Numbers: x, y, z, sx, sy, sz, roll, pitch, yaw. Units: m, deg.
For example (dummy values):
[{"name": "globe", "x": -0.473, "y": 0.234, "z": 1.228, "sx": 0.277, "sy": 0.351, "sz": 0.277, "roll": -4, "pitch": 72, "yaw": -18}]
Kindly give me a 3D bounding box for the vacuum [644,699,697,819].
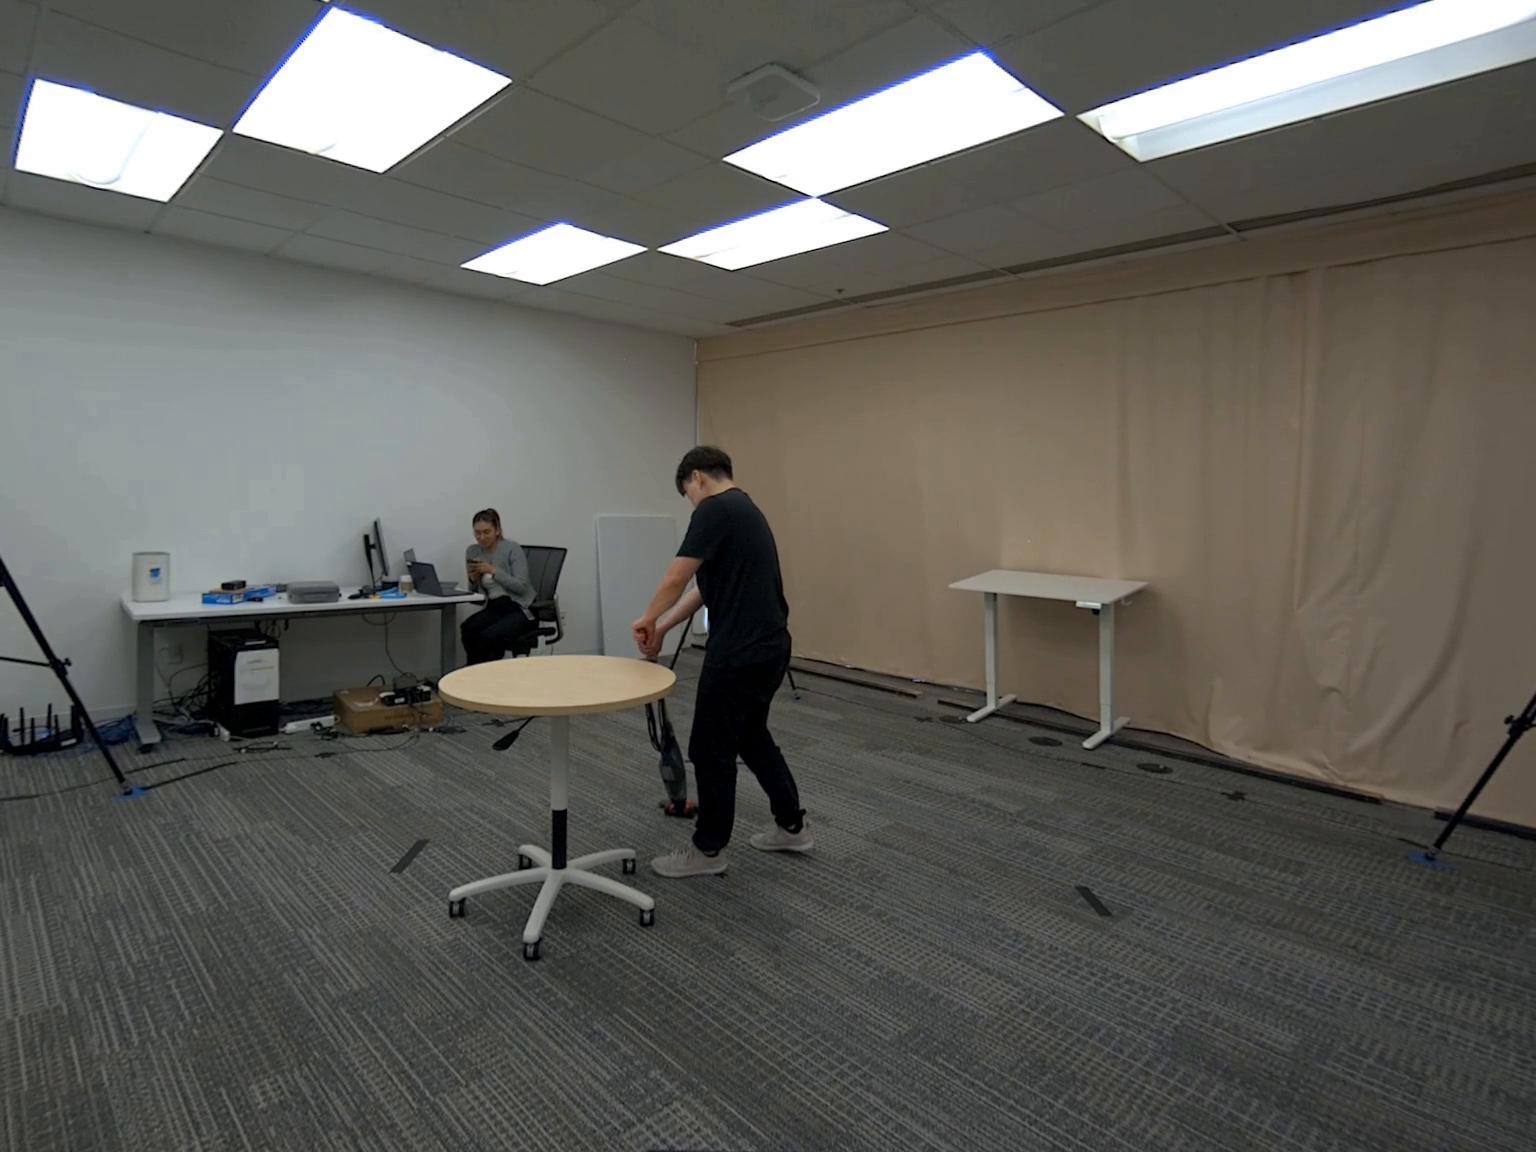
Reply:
[{"name": "vacuum", "x": -0.437, "y": 0.628, "z": 3.438, "sx": 0.256, "sy": 1.024, "sz": 0.145, "roll": 3, "pitch": 38, "yaw": 17}]
